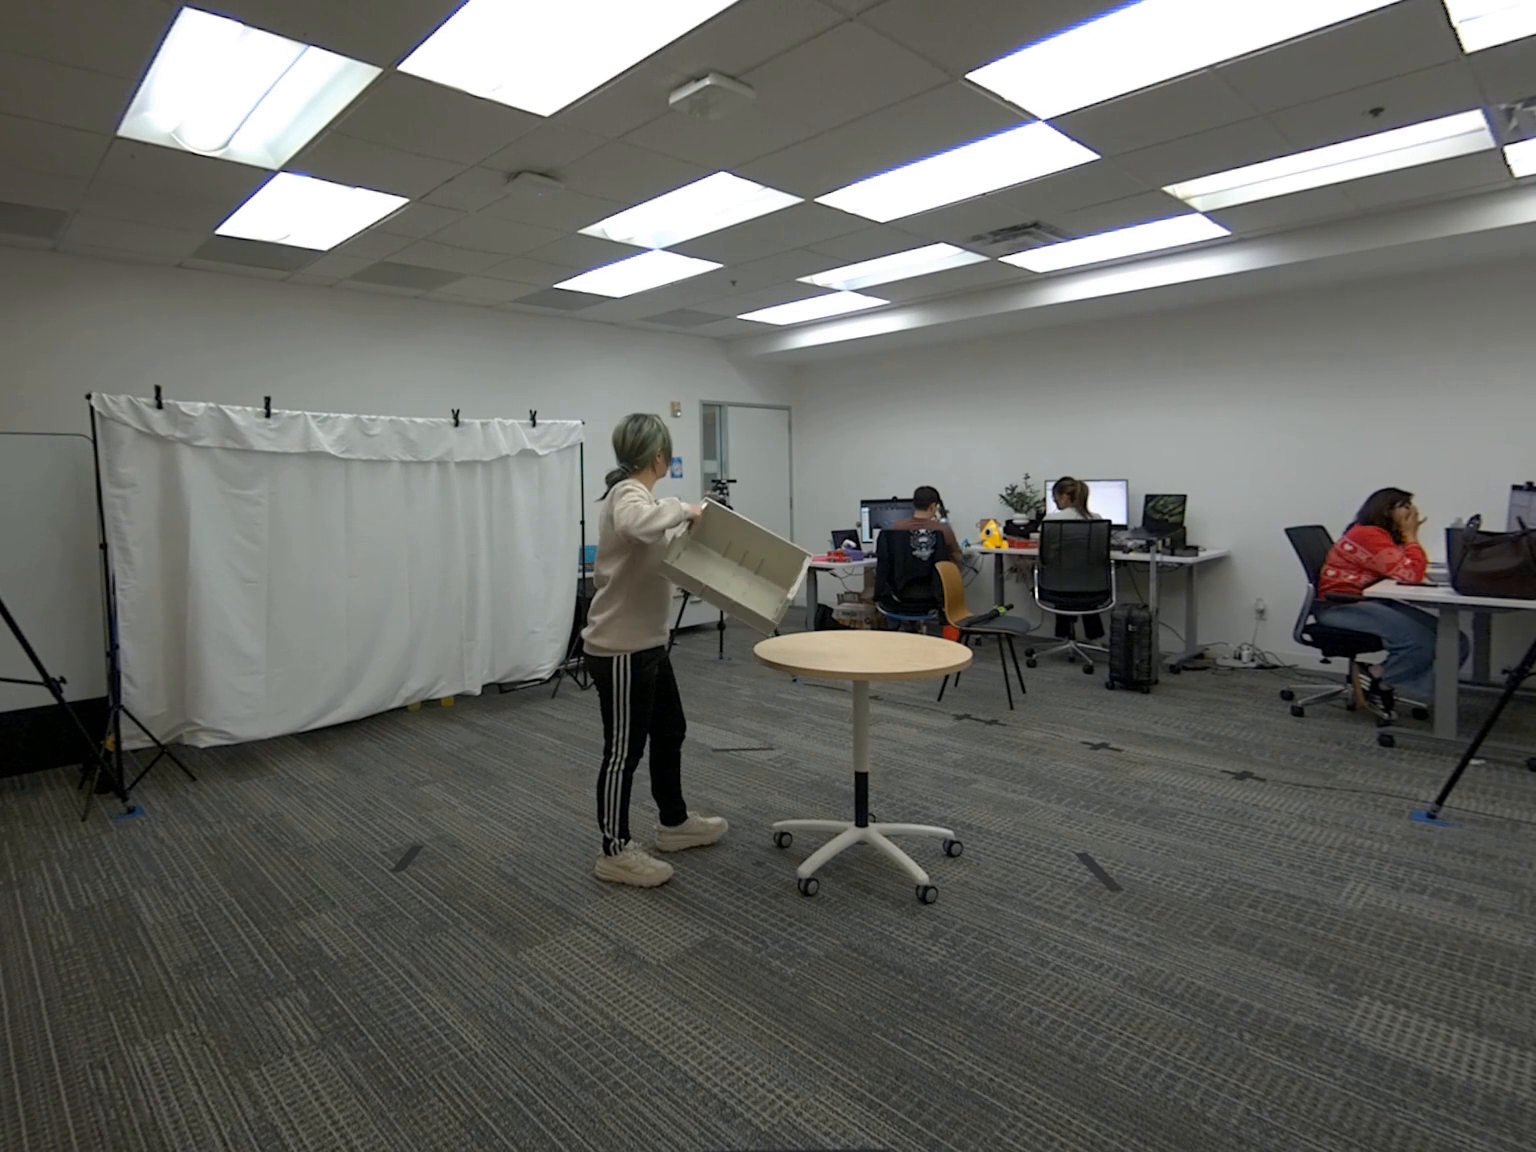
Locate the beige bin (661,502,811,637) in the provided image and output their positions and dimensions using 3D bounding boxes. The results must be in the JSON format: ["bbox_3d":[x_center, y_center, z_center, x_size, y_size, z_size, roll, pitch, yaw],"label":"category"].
[{"bbox_3d":[-0.108,-0.020,2.806,0.425,0.187,0.378,28,27,4],"label":"beige bin"}]
